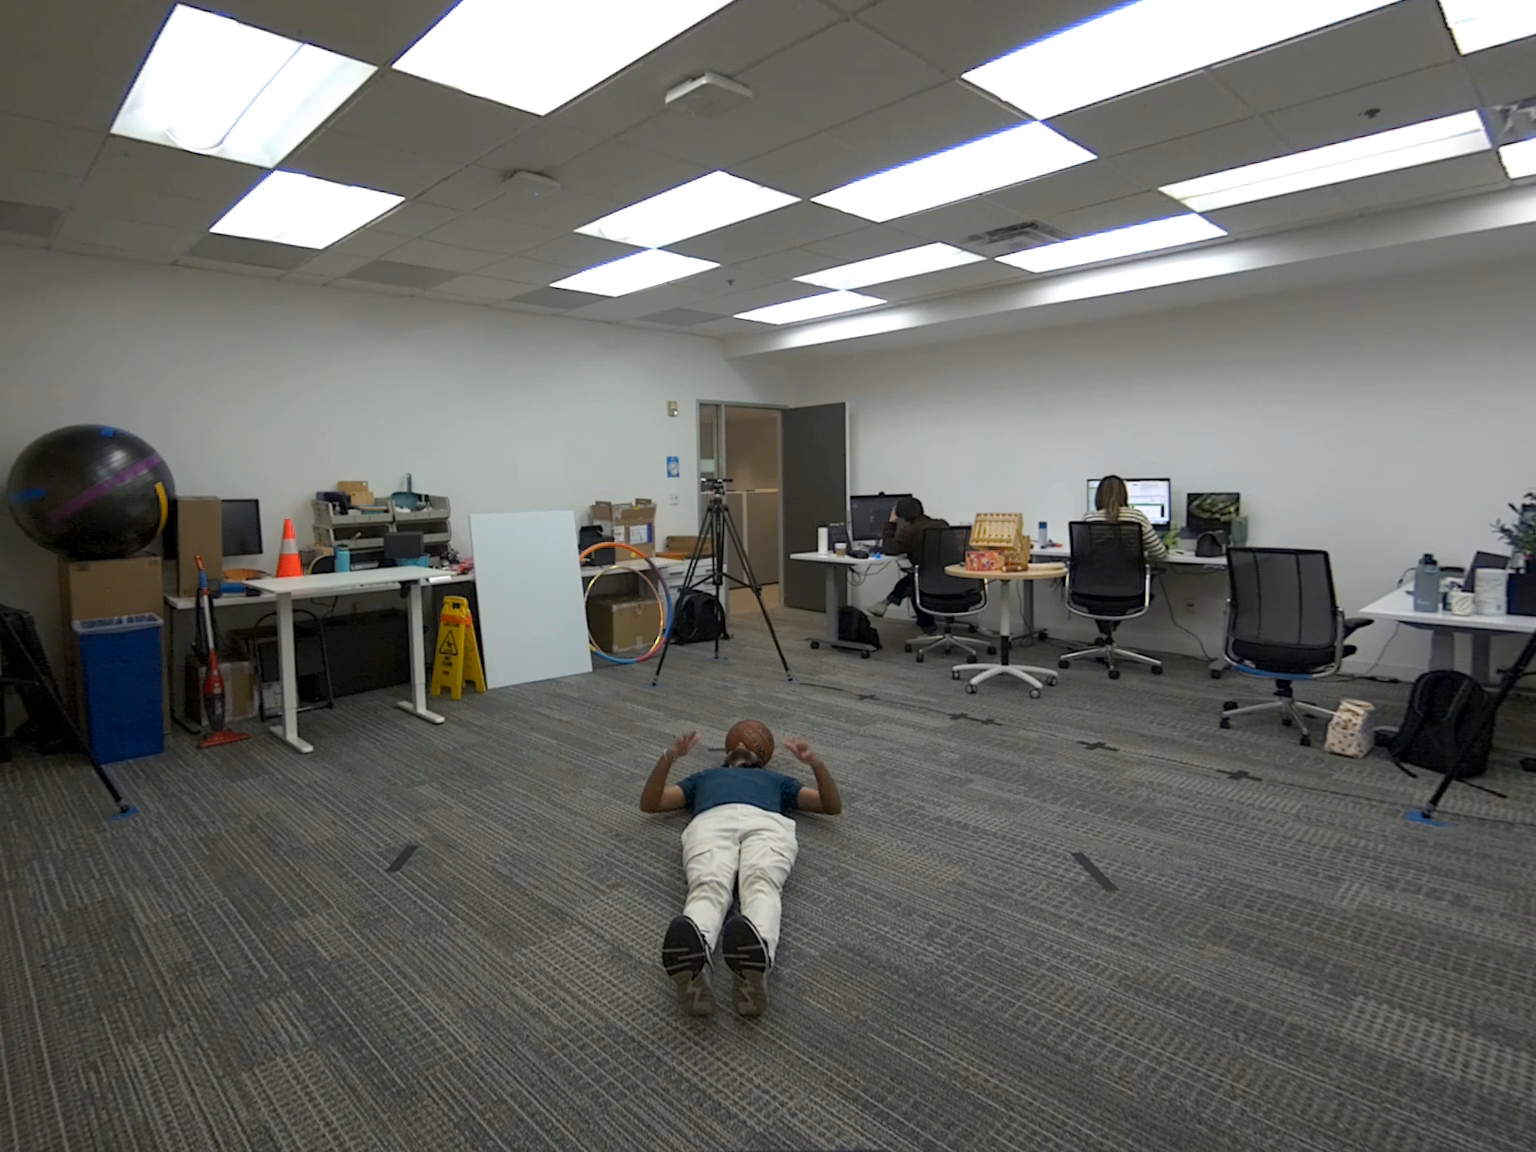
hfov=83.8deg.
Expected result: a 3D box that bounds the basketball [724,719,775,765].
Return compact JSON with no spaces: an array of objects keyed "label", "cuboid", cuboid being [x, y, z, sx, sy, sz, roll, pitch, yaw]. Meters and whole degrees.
[{"label":"basketball","cuboid":[-0.090,0.810,4.121,0.236,0.235,0.237,-1,5,-2]}]
